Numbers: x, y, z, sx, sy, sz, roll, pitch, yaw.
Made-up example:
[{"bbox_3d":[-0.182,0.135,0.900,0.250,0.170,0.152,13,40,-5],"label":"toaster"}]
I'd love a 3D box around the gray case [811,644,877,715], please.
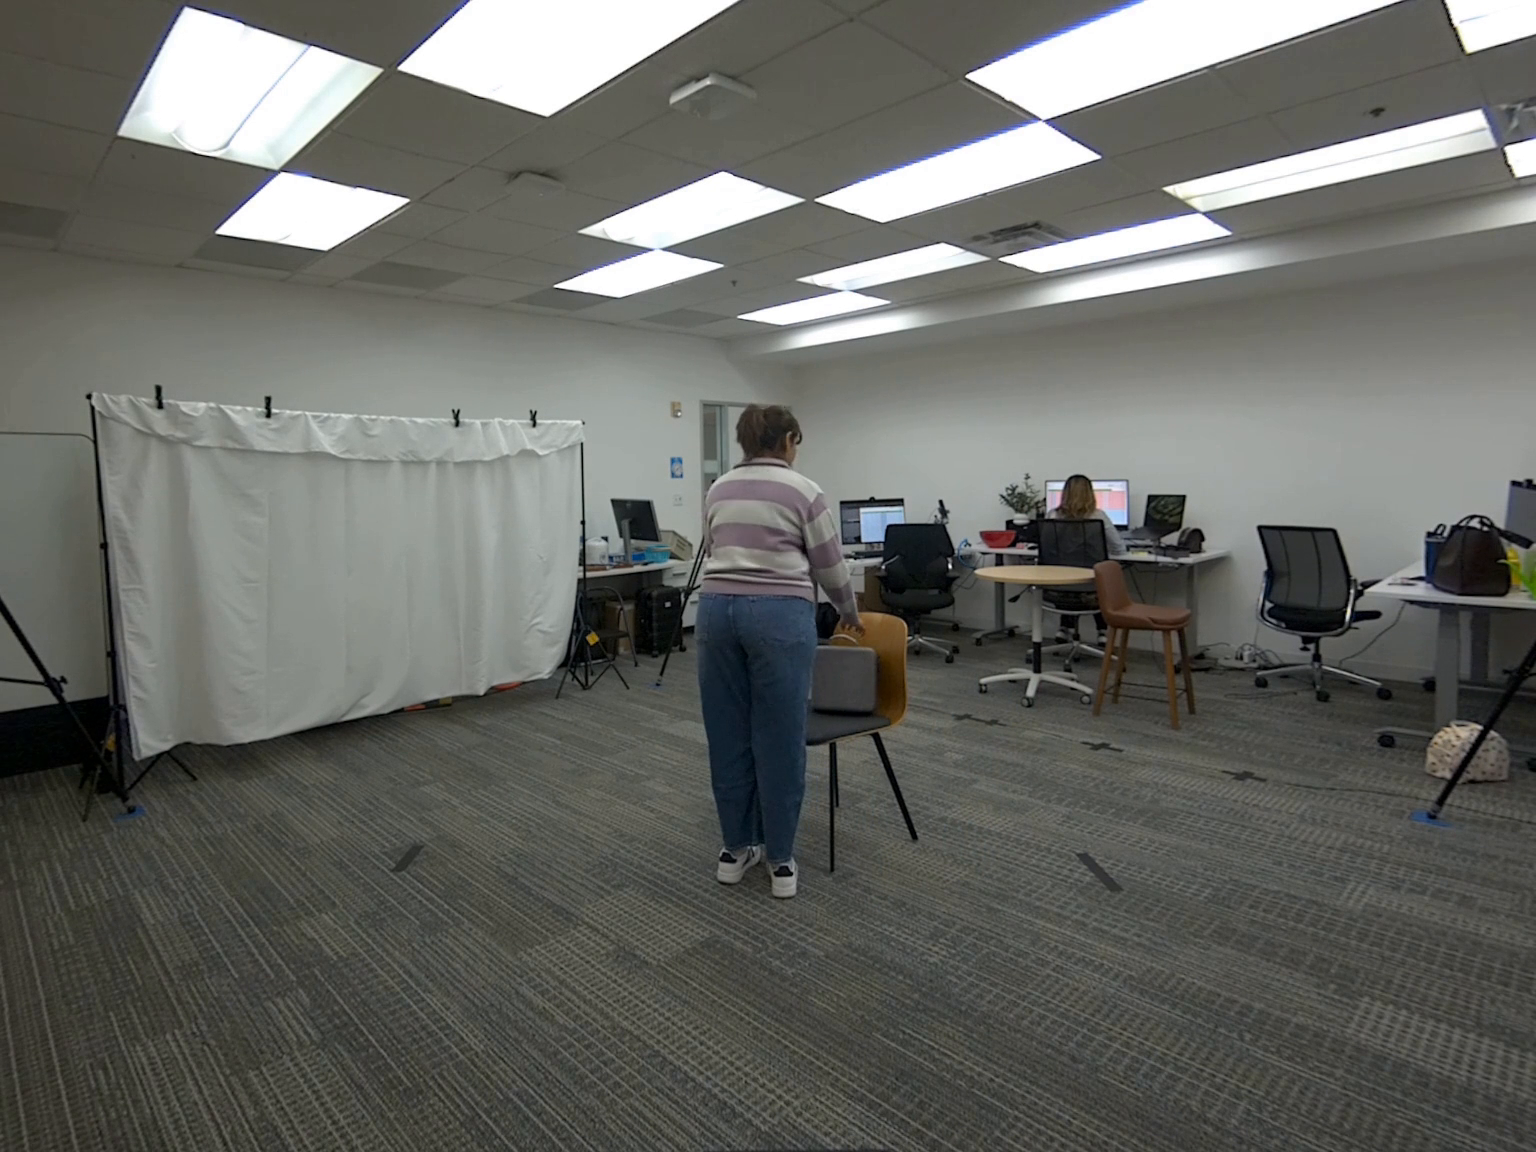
[{"bbox_3d":[0.303,0.405,3.390,0.259,0.262,0.103,1,-6,8],"label":"gray case"}]
